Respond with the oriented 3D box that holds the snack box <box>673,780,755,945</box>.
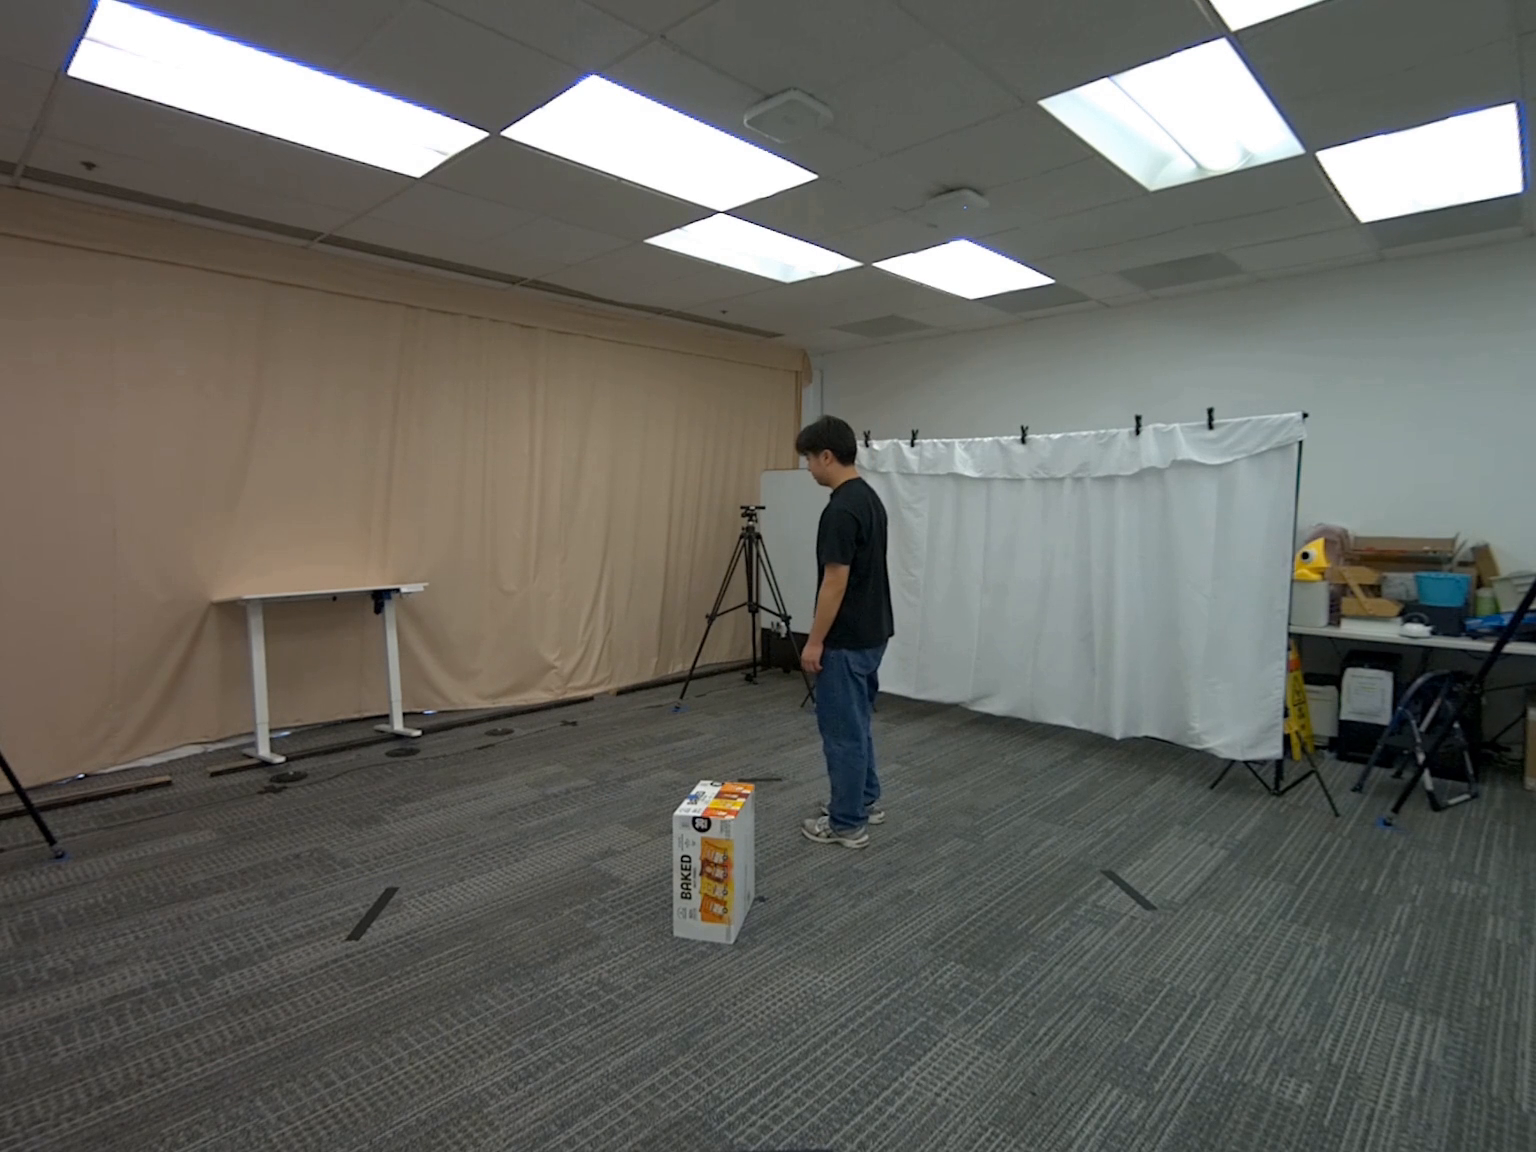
[{"bbox_3d":[-0.171,0.952,2.848,0.209,0.404,0.336,0,3,12],"label":"snack box"}]
